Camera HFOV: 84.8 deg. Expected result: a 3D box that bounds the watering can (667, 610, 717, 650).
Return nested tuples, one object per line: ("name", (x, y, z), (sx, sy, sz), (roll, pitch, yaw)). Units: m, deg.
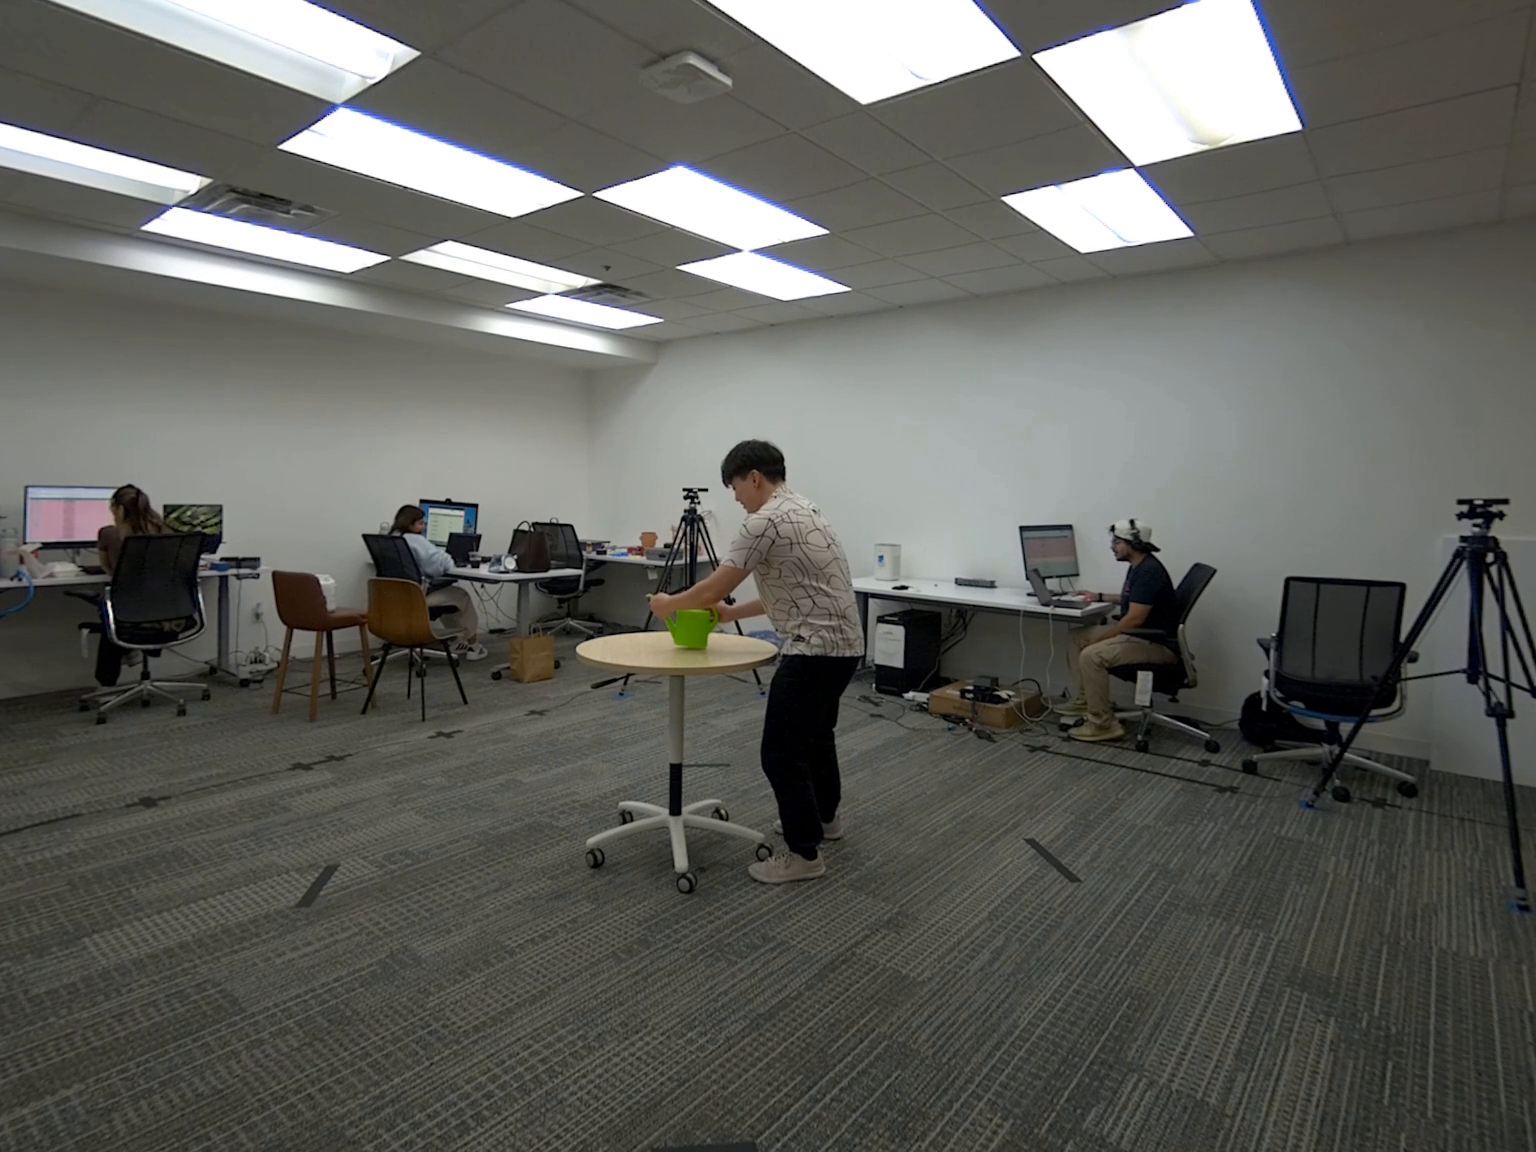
("watering can", (-0.335, 0.169, 3.232), (0.285, 0.175, 0.096), (10, 9, 20))
